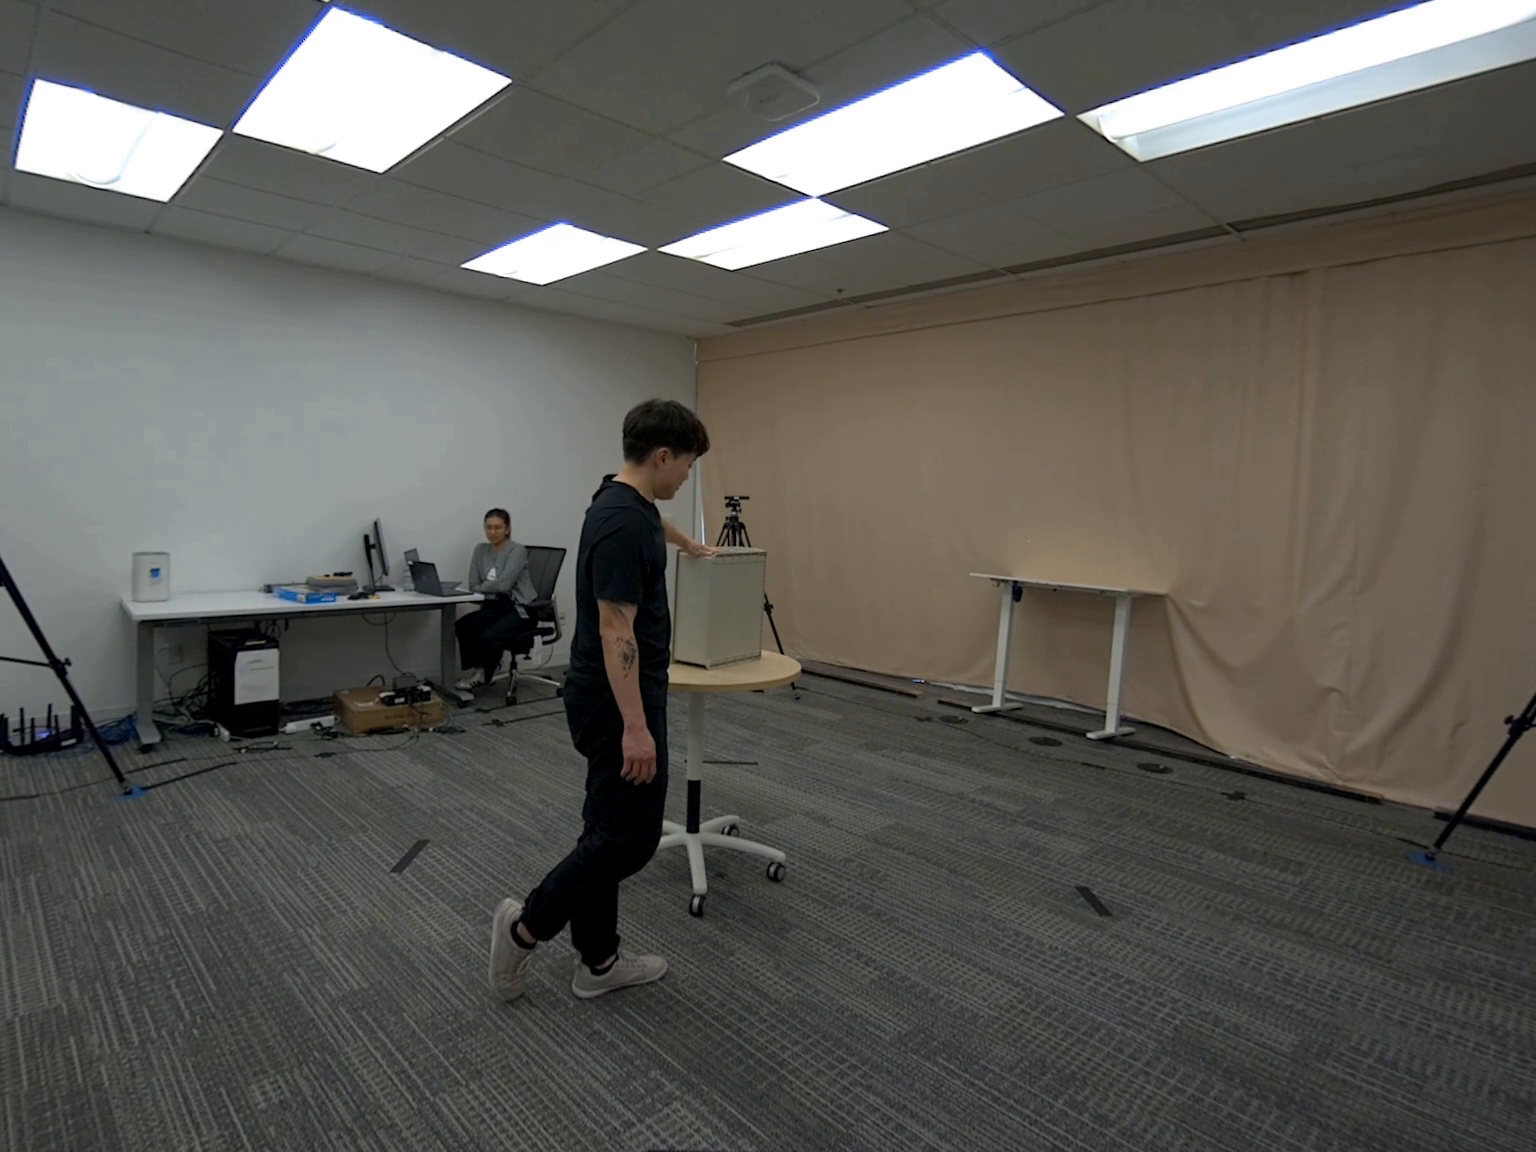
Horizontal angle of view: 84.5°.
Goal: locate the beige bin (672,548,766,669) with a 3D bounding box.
[{"bbox_3d":[-0.172,0.111,3.132,0.194,0.421,0.369,8,6,35],"label":"beige bin"}]
